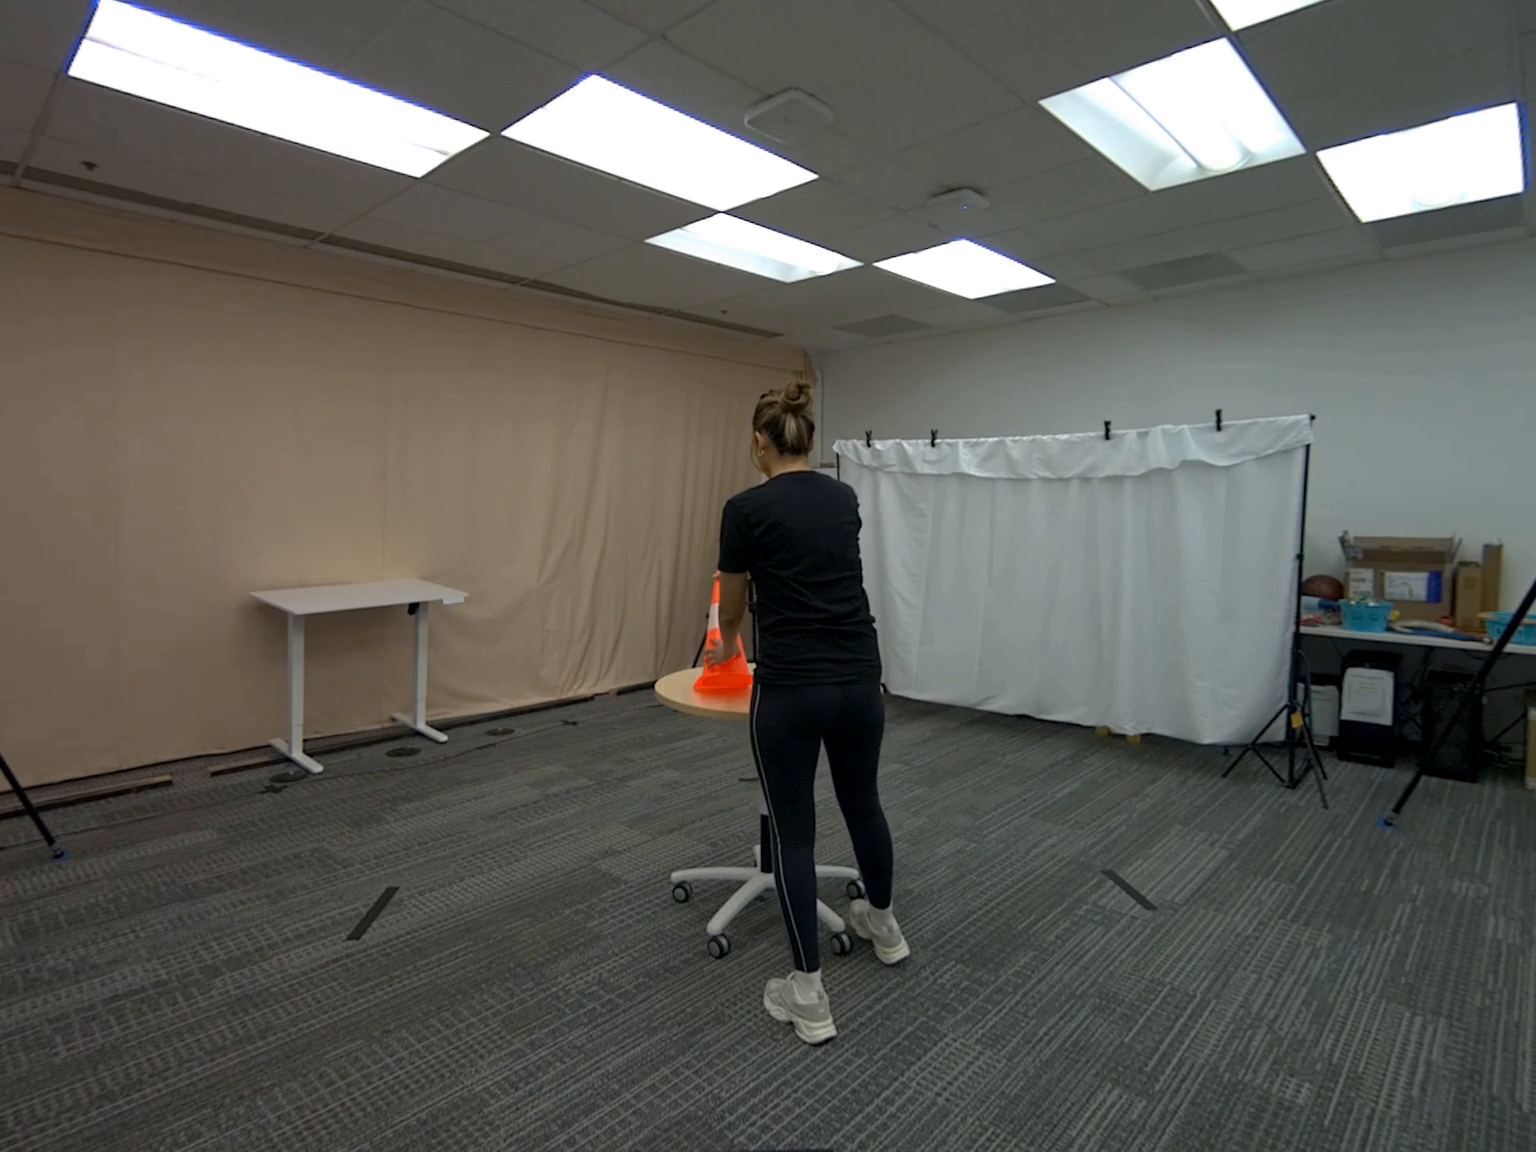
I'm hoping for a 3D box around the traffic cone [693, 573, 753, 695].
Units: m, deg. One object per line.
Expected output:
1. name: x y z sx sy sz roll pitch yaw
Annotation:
1. traffic cone: -0.139 0.170 2.789 0.203 0.389 0.203 2 -23 -11
